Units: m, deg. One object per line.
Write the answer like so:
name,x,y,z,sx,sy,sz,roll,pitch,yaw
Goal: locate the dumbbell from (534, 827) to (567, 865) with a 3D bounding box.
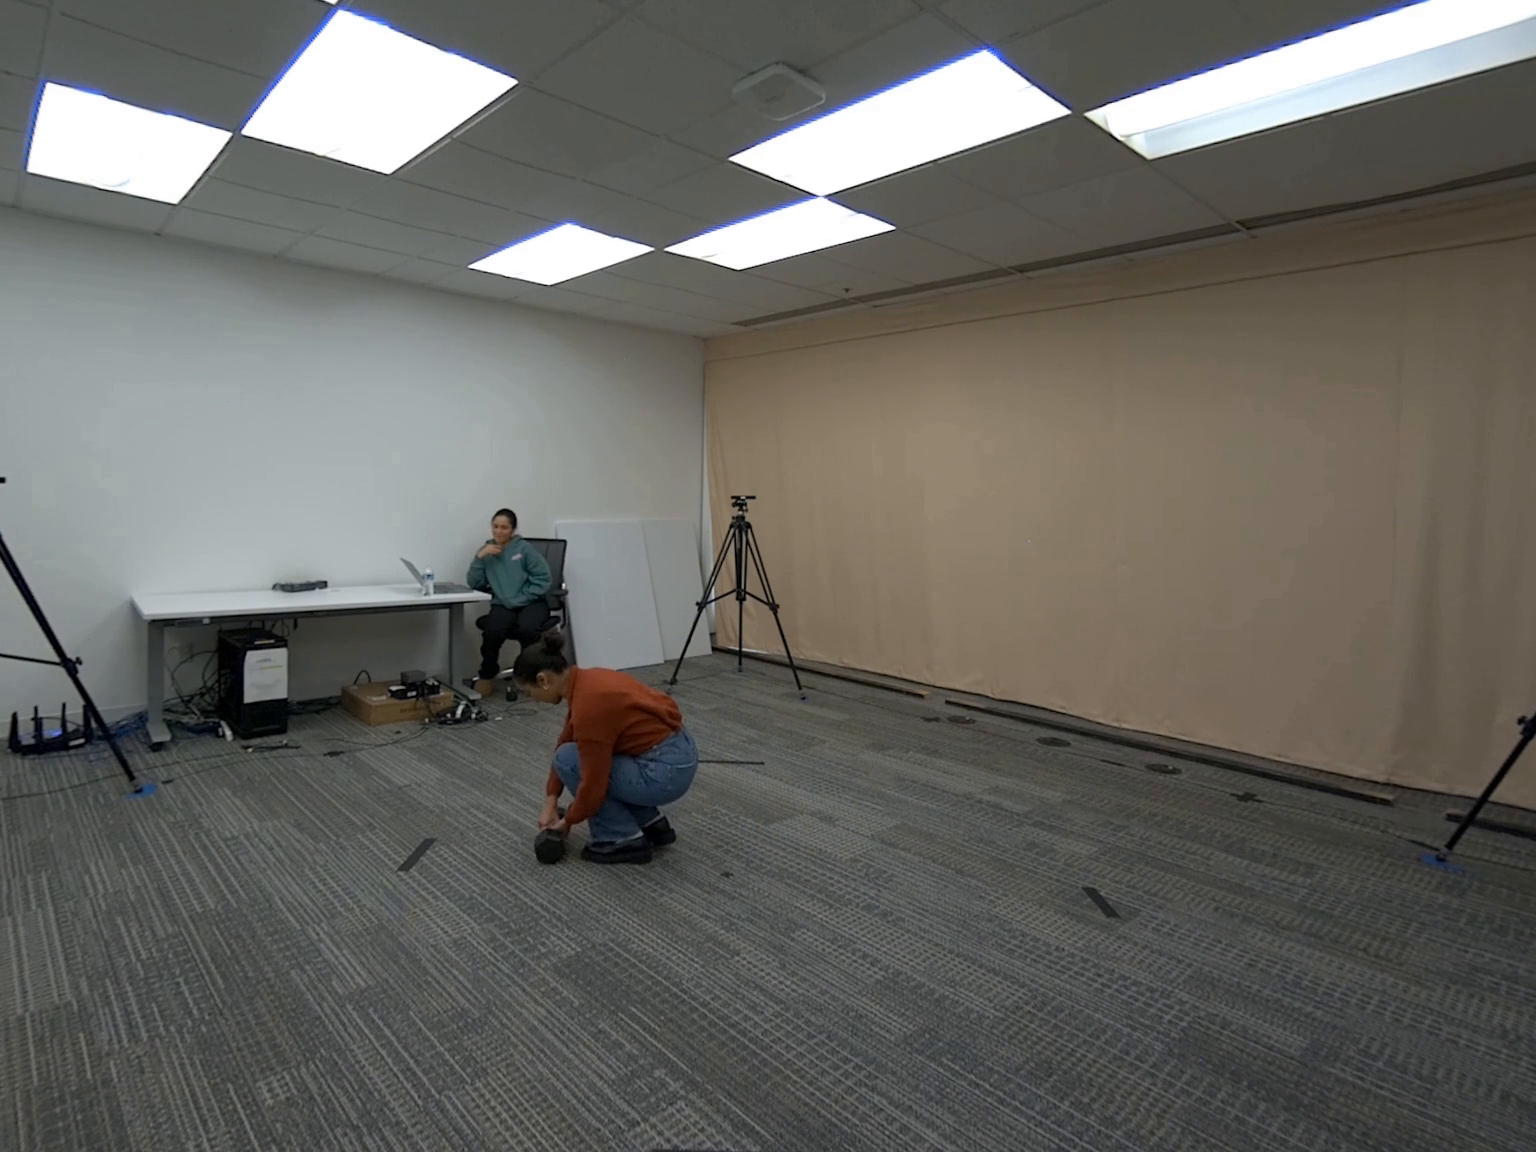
dumbbell,-0.841,0.984,3.281,0.123,0.107,0.297,-41,12,-2
